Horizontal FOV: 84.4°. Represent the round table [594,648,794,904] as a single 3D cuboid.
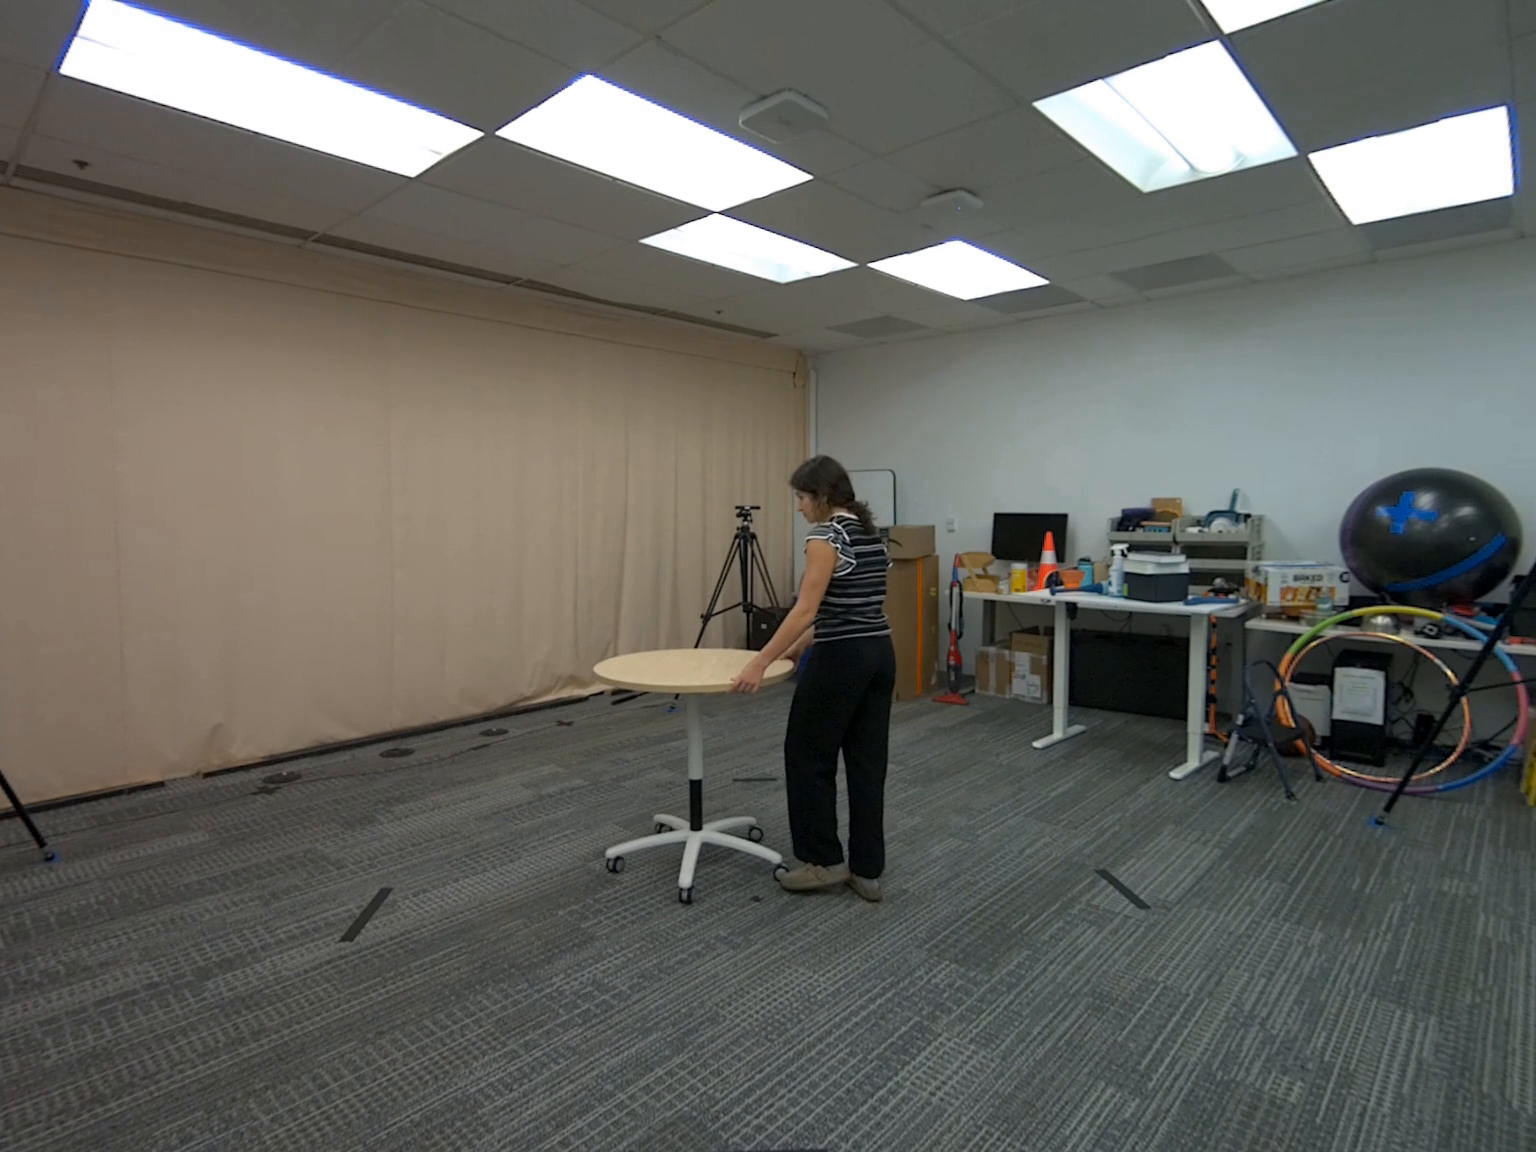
[{"bbox_3d":[-0.293,0.729,3.255,0.784,0.785,0.788,-1,4,-2],"label":"round table"}]
